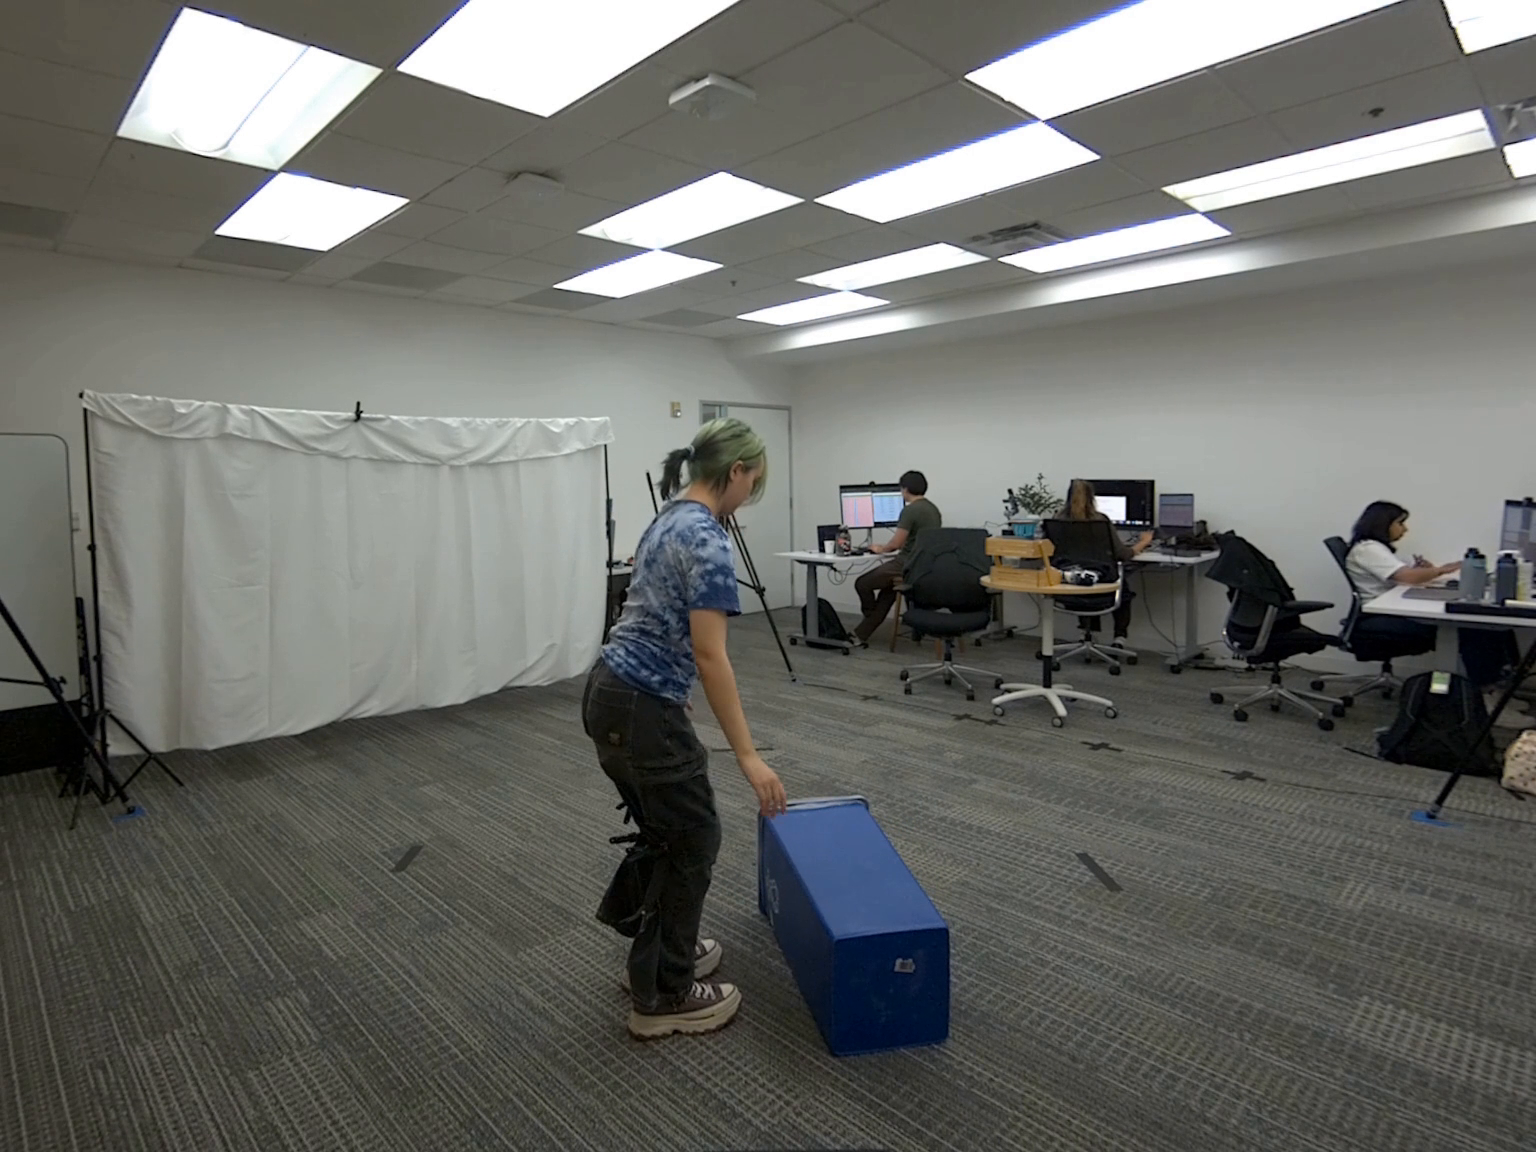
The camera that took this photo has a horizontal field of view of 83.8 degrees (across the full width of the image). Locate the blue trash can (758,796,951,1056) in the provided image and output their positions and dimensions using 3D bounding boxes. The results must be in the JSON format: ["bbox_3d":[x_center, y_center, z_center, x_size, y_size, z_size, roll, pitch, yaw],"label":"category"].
[{"bbox_3d":[0.229,0.945,2.422,0.374,0.372,0.726,-2,8,-12],"label":"blue trash can"}]
